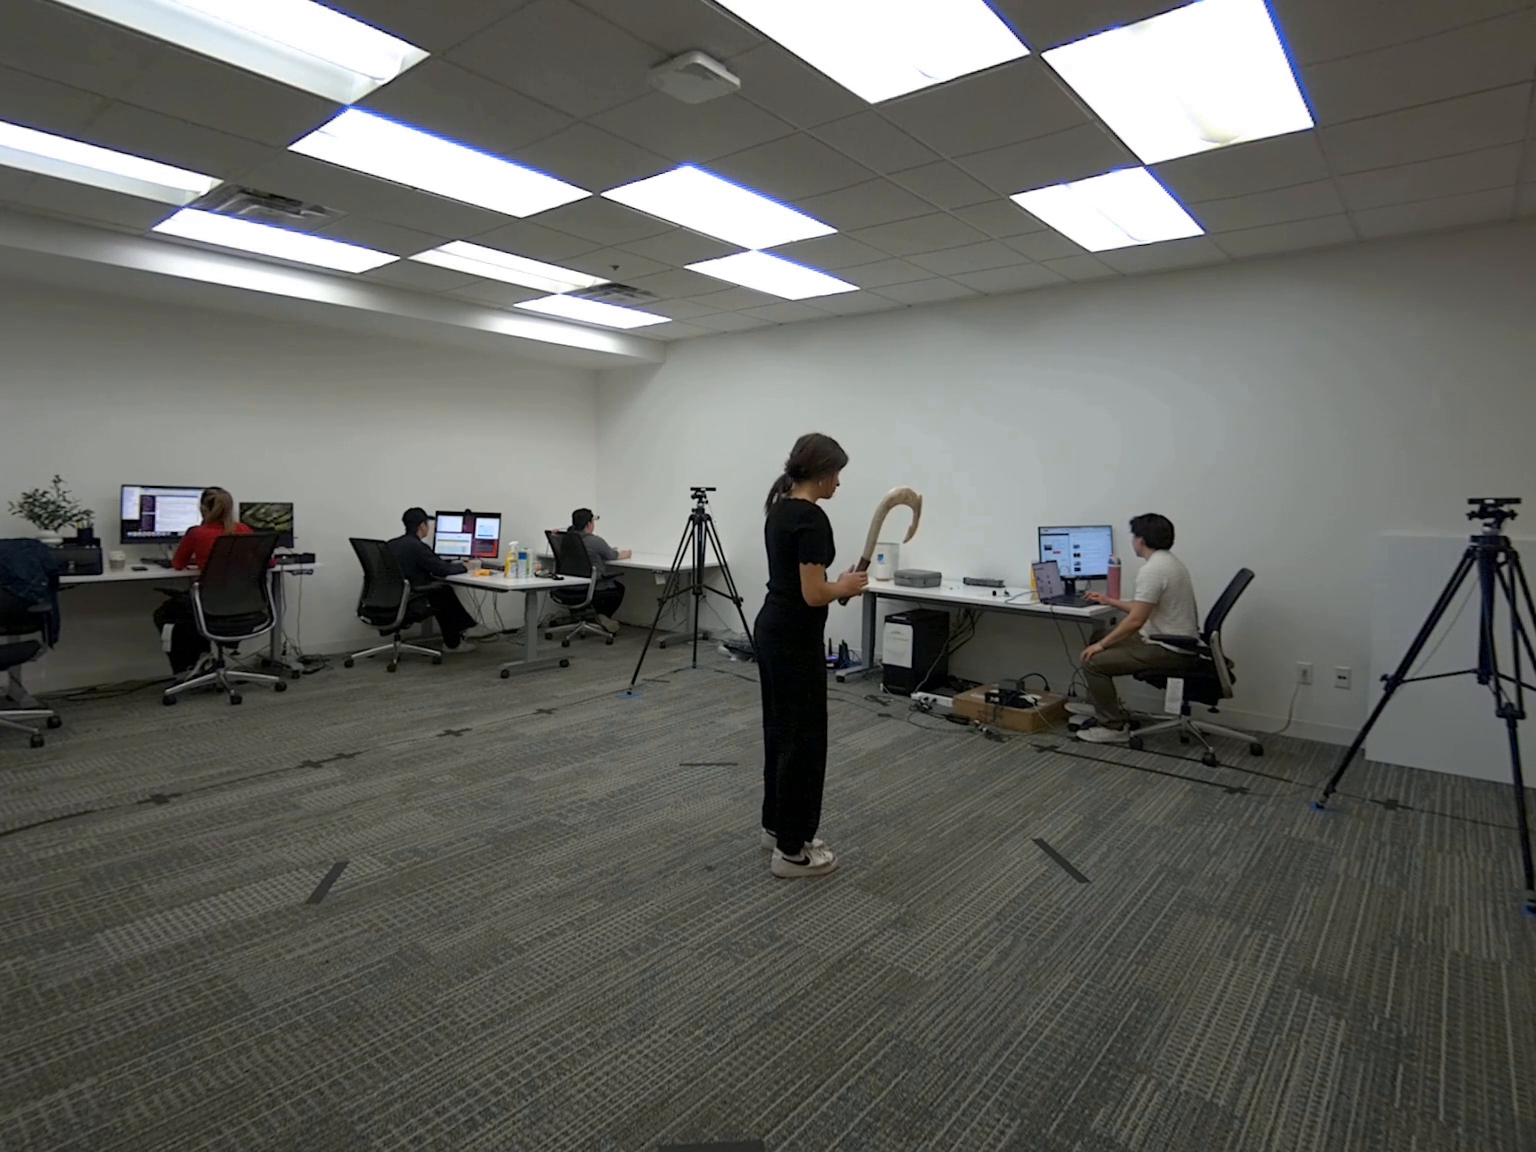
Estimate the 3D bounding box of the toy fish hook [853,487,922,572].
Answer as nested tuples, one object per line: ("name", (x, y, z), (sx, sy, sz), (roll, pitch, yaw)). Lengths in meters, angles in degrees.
("toy fish hook", (0.419, -0.094, 3.210), (0.217, 0.505, 0.050), (25, 7, -30))
